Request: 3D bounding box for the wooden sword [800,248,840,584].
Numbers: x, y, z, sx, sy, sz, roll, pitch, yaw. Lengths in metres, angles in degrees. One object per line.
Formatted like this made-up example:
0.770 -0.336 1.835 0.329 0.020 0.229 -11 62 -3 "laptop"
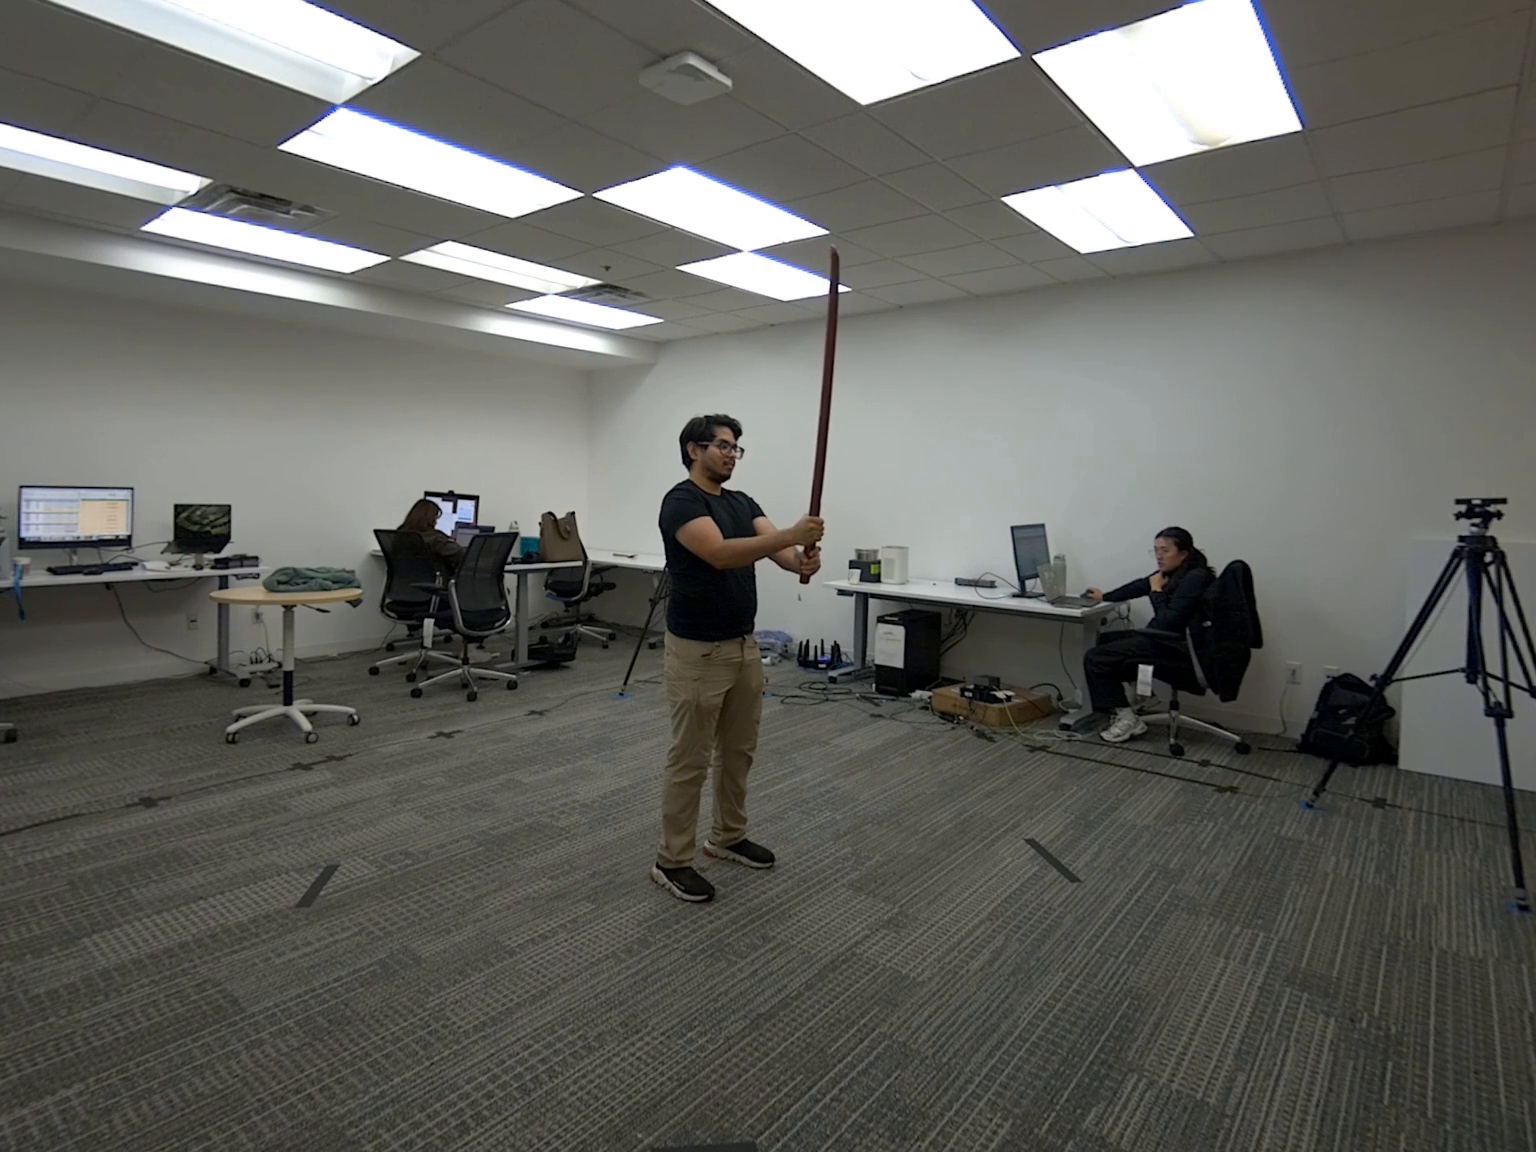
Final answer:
0.153 -0.491 2.559 0.052 1.010 0.024 13 18 18 "wooden sword"
